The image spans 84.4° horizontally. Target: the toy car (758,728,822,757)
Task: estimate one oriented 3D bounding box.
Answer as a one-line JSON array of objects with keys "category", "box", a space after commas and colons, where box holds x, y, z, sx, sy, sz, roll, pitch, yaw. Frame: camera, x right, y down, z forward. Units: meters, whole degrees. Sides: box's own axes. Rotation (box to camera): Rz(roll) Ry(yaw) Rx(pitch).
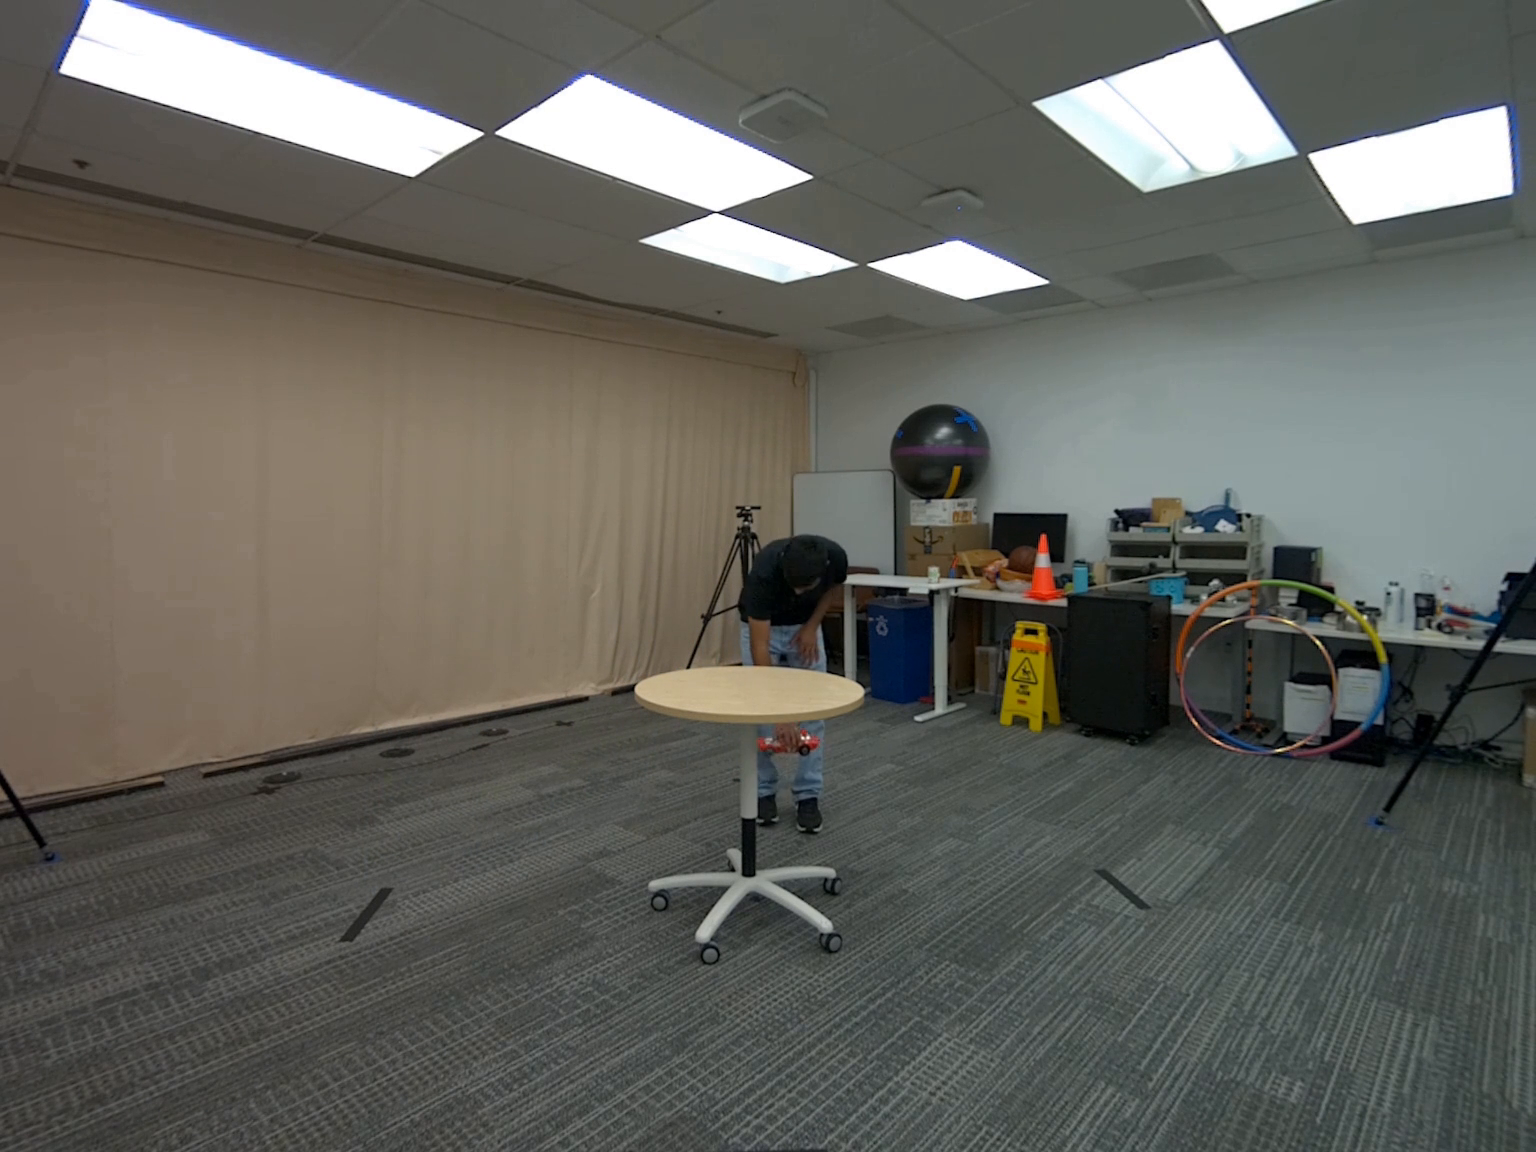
[{"category": "toy car", "box": [0.081, 0.688, 3.418, 0.252, 0.082, 0.132, -11, 9, -8]}]
